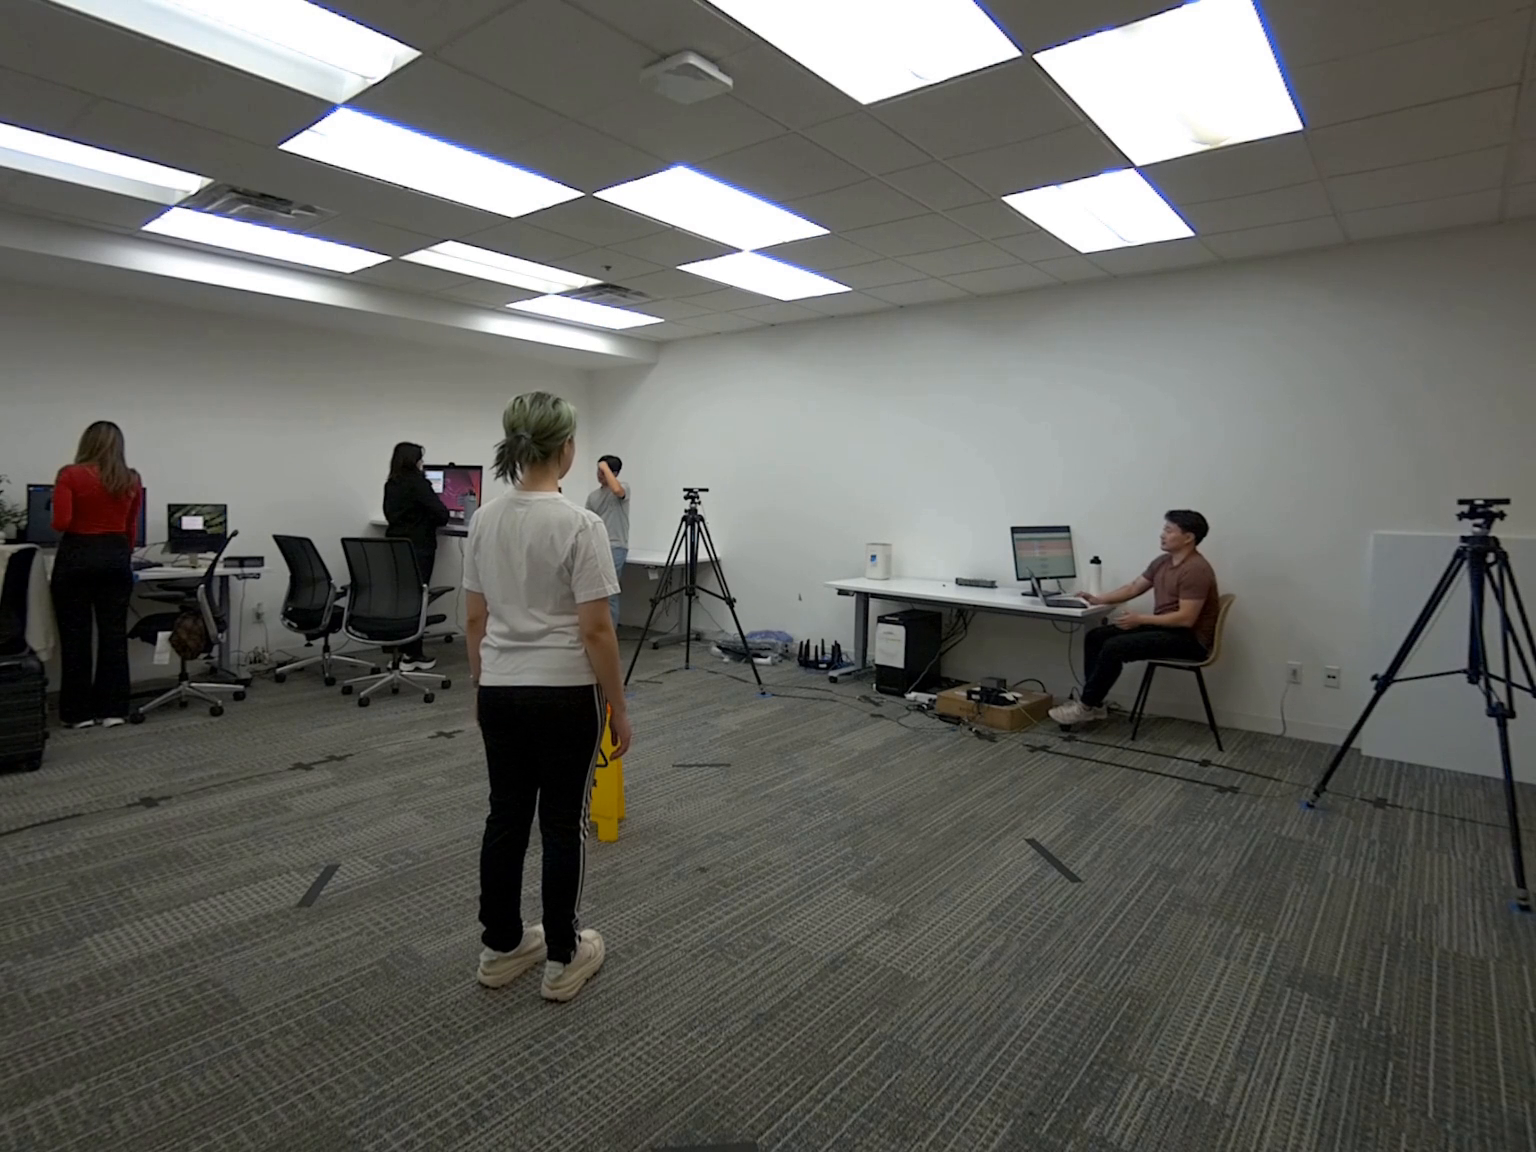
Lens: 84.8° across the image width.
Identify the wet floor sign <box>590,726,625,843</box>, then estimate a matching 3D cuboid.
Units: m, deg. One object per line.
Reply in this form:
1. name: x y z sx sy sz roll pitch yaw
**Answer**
1. wet floor sign: -0.754 0.700 3.449 0.282 0.645 0.290 -1 2 -1
